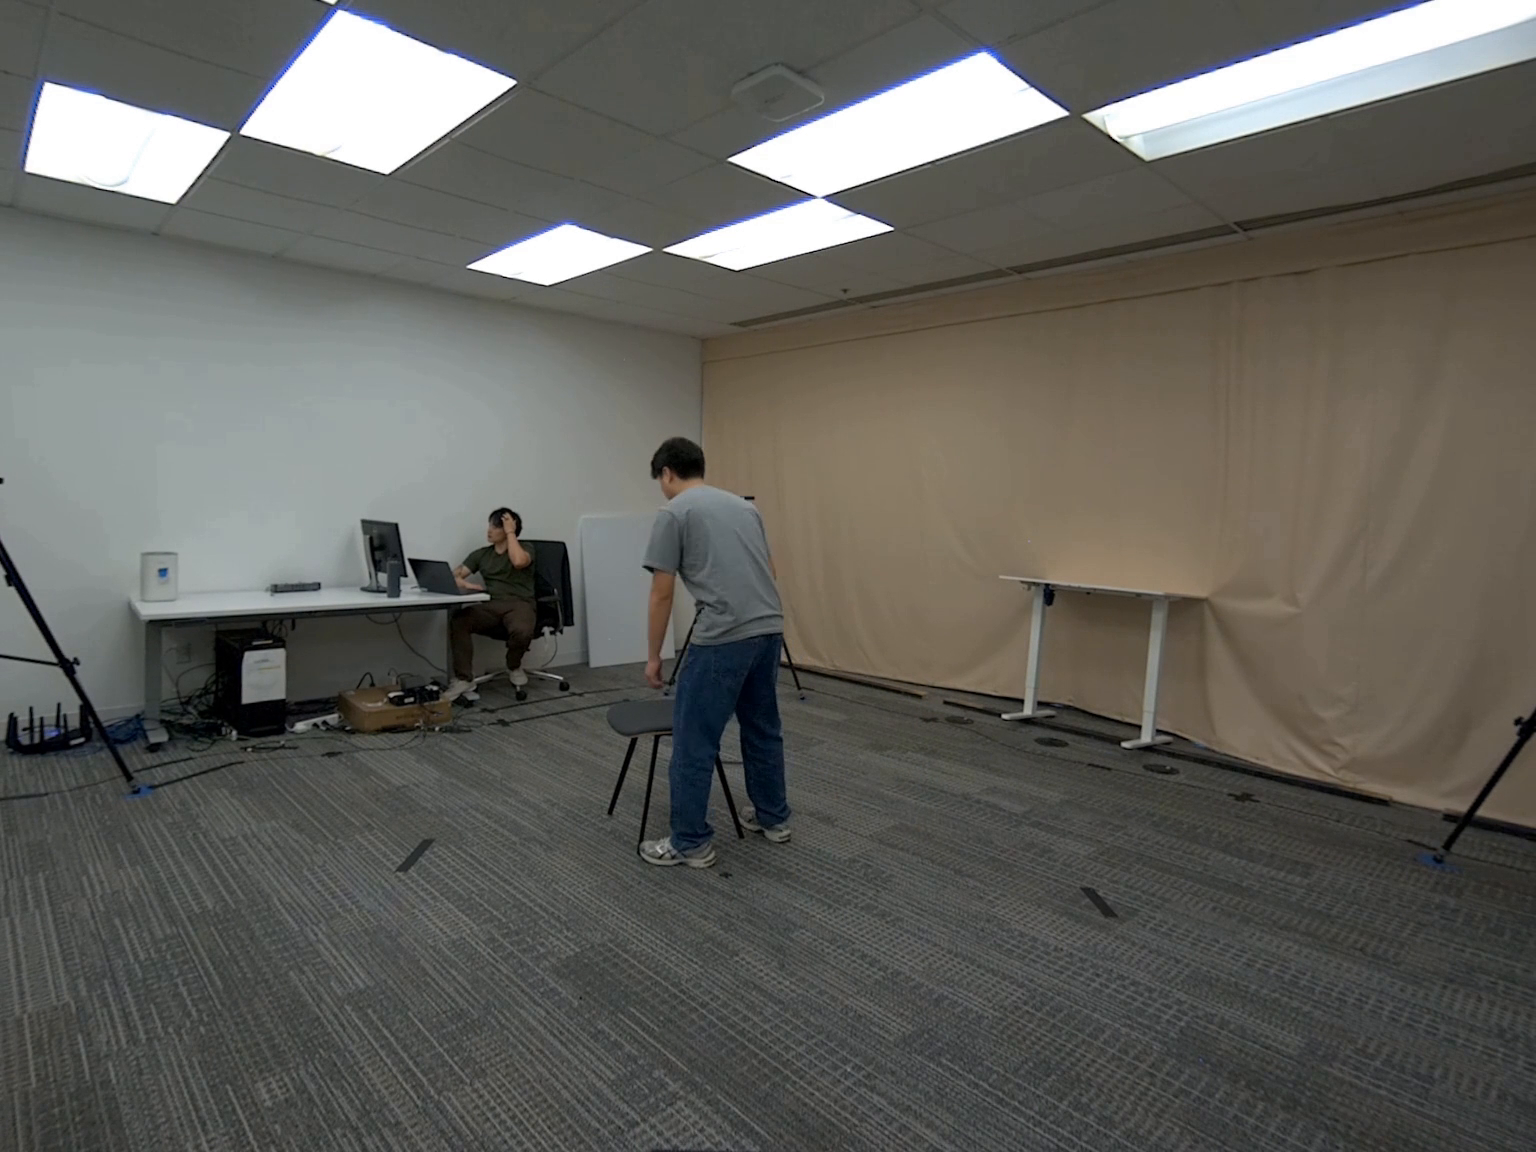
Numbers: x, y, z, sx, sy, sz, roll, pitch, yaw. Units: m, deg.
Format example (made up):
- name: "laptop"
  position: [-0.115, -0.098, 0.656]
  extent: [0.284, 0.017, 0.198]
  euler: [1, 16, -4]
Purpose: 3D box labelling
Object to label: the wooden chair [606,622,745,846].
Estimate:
- name: "wooden chair"
  position: [-0.404, 0.635, 3.530]
  extent: [0.513, 0.876, 0.488]
  euler: [4, 2, -24]
